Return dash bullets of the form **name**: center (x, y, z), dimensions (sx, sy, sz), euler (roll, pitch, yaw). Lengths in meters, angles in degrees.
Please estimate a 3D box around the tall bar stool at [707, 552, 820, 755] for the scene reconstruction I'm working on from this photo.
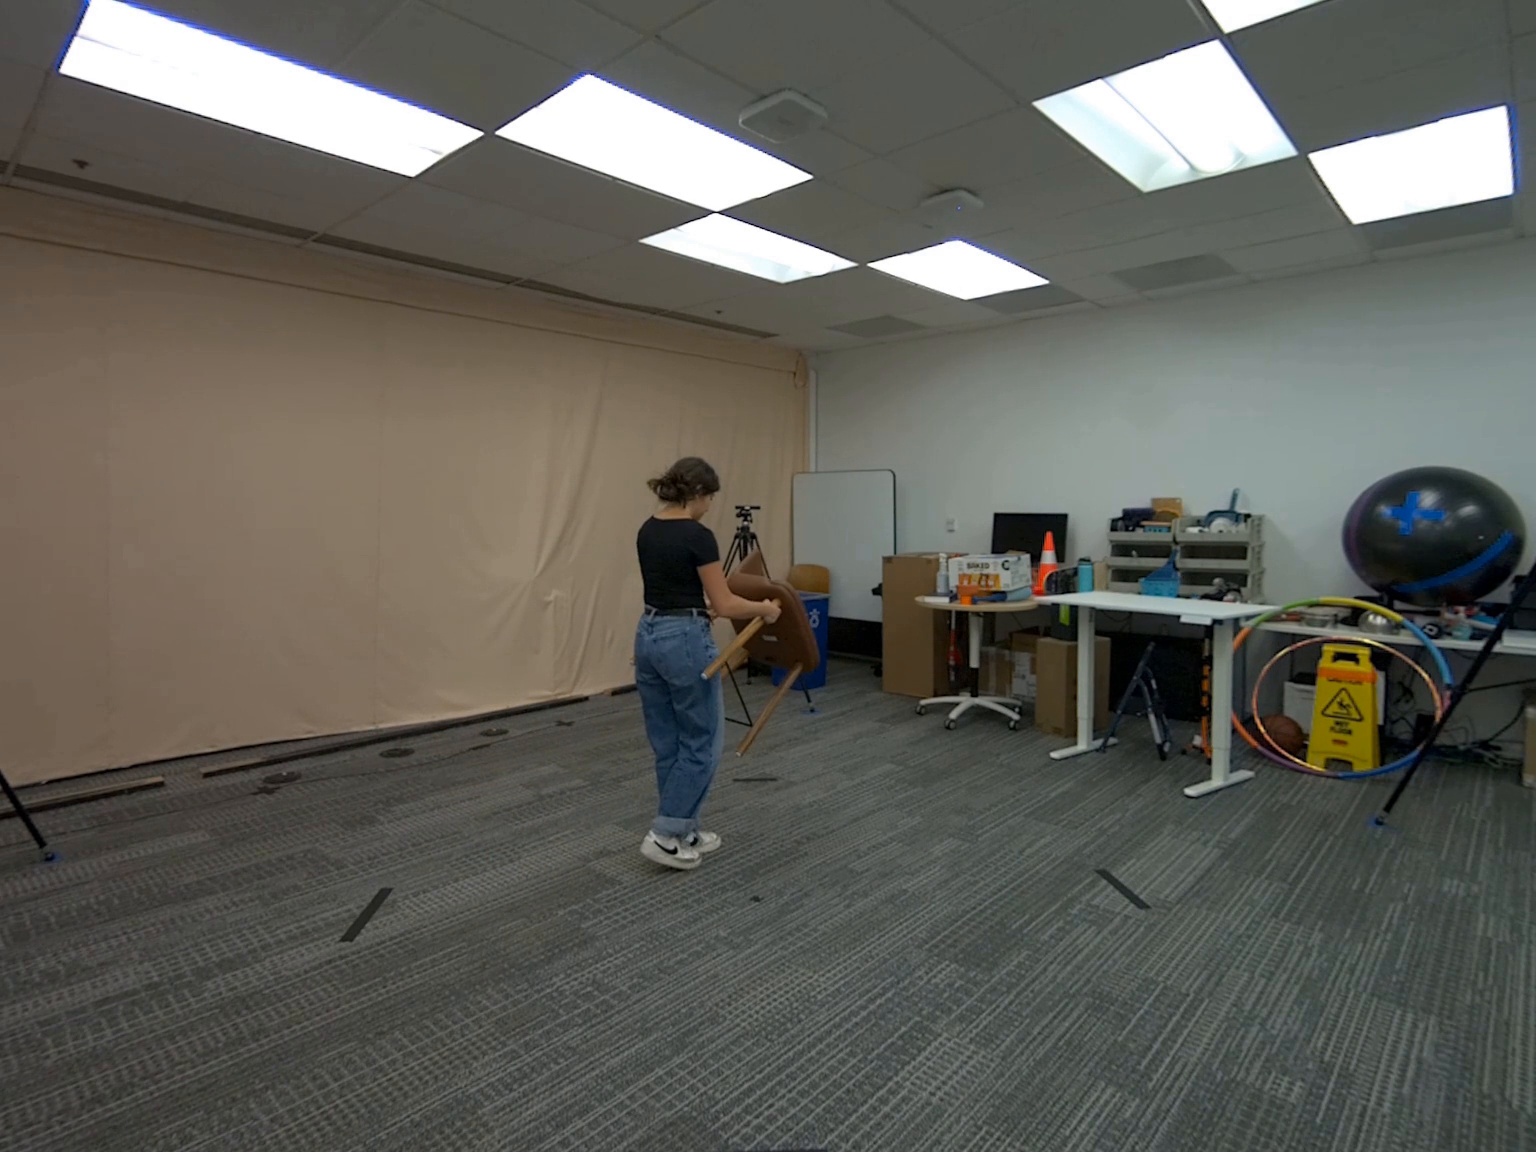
- **tall bar stool**: center (-0.083, 0.284, 3.567), dimensions (0.483, 0.446, 0.880), euler (2, 34, 41)
